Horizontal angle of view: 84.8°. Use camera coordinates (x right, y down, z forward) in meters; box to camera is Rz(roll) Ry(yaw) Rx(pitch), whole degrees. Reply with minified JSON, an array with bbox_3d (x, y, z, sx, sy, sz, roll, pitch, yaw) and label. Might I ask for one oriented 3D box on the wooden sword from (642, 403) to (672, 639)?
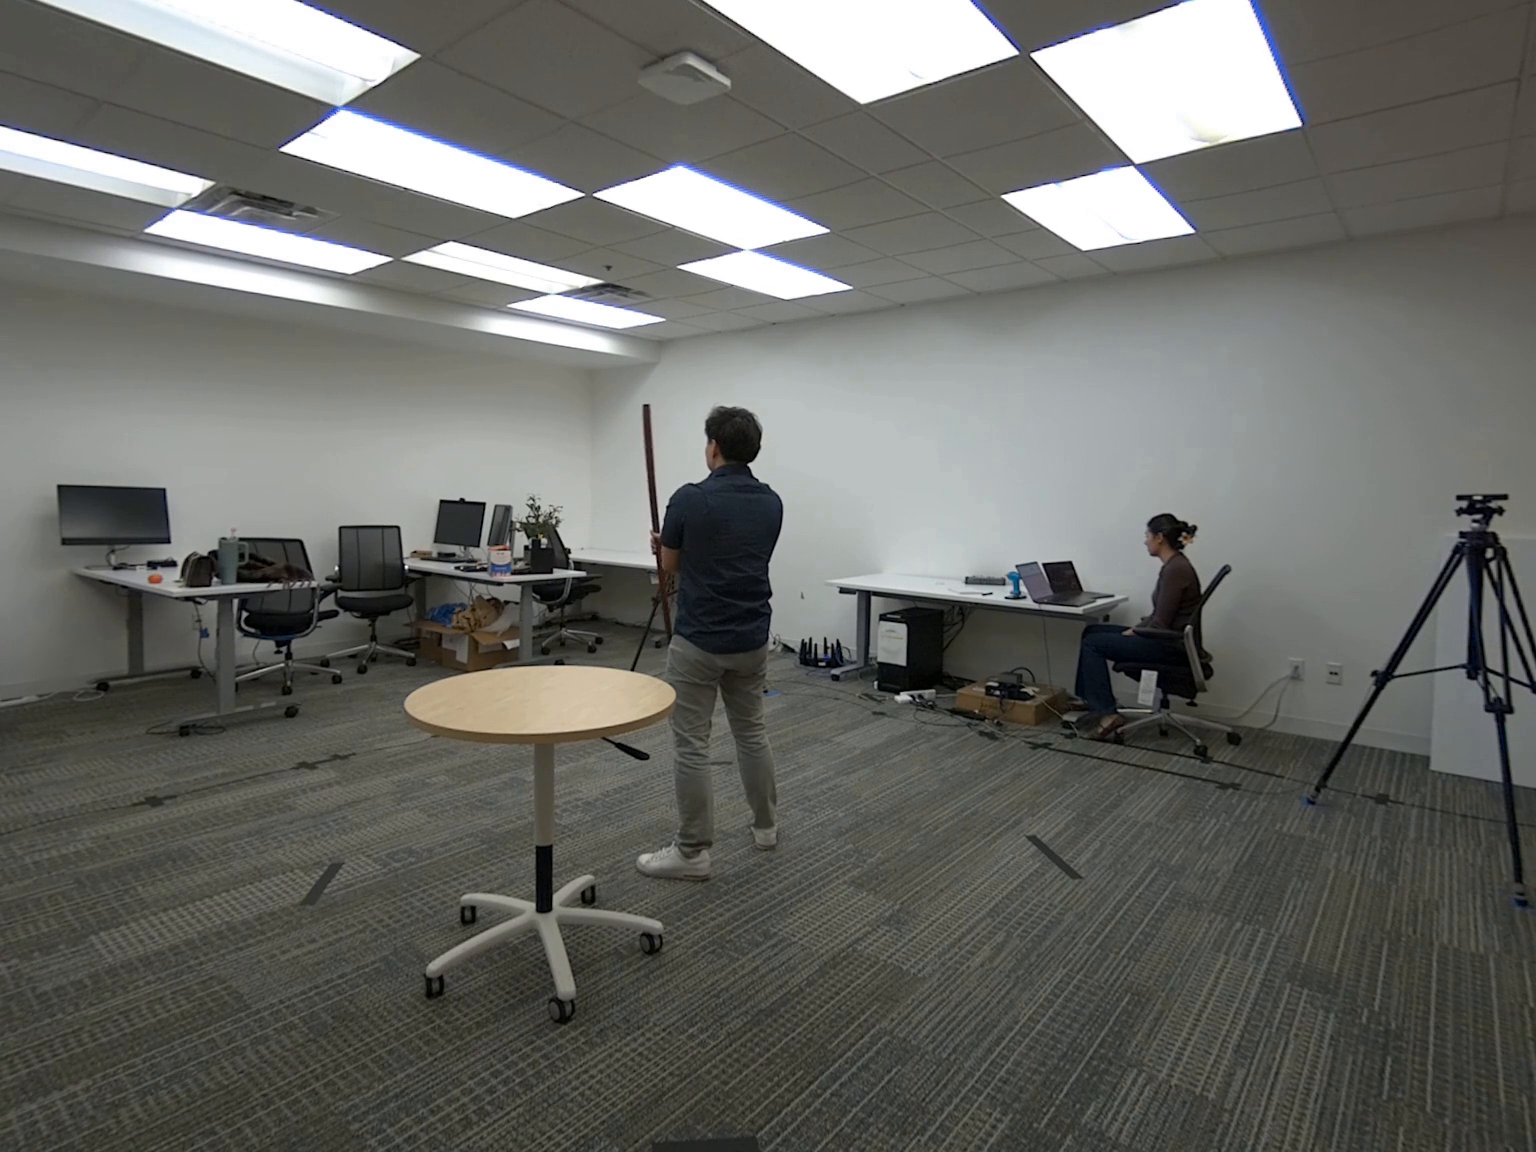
[{"bbox_3d":[-0.467,-0.194,3.472,0.053,1.016,0.023,-1,9,31],"label":"wooden sword"}]
